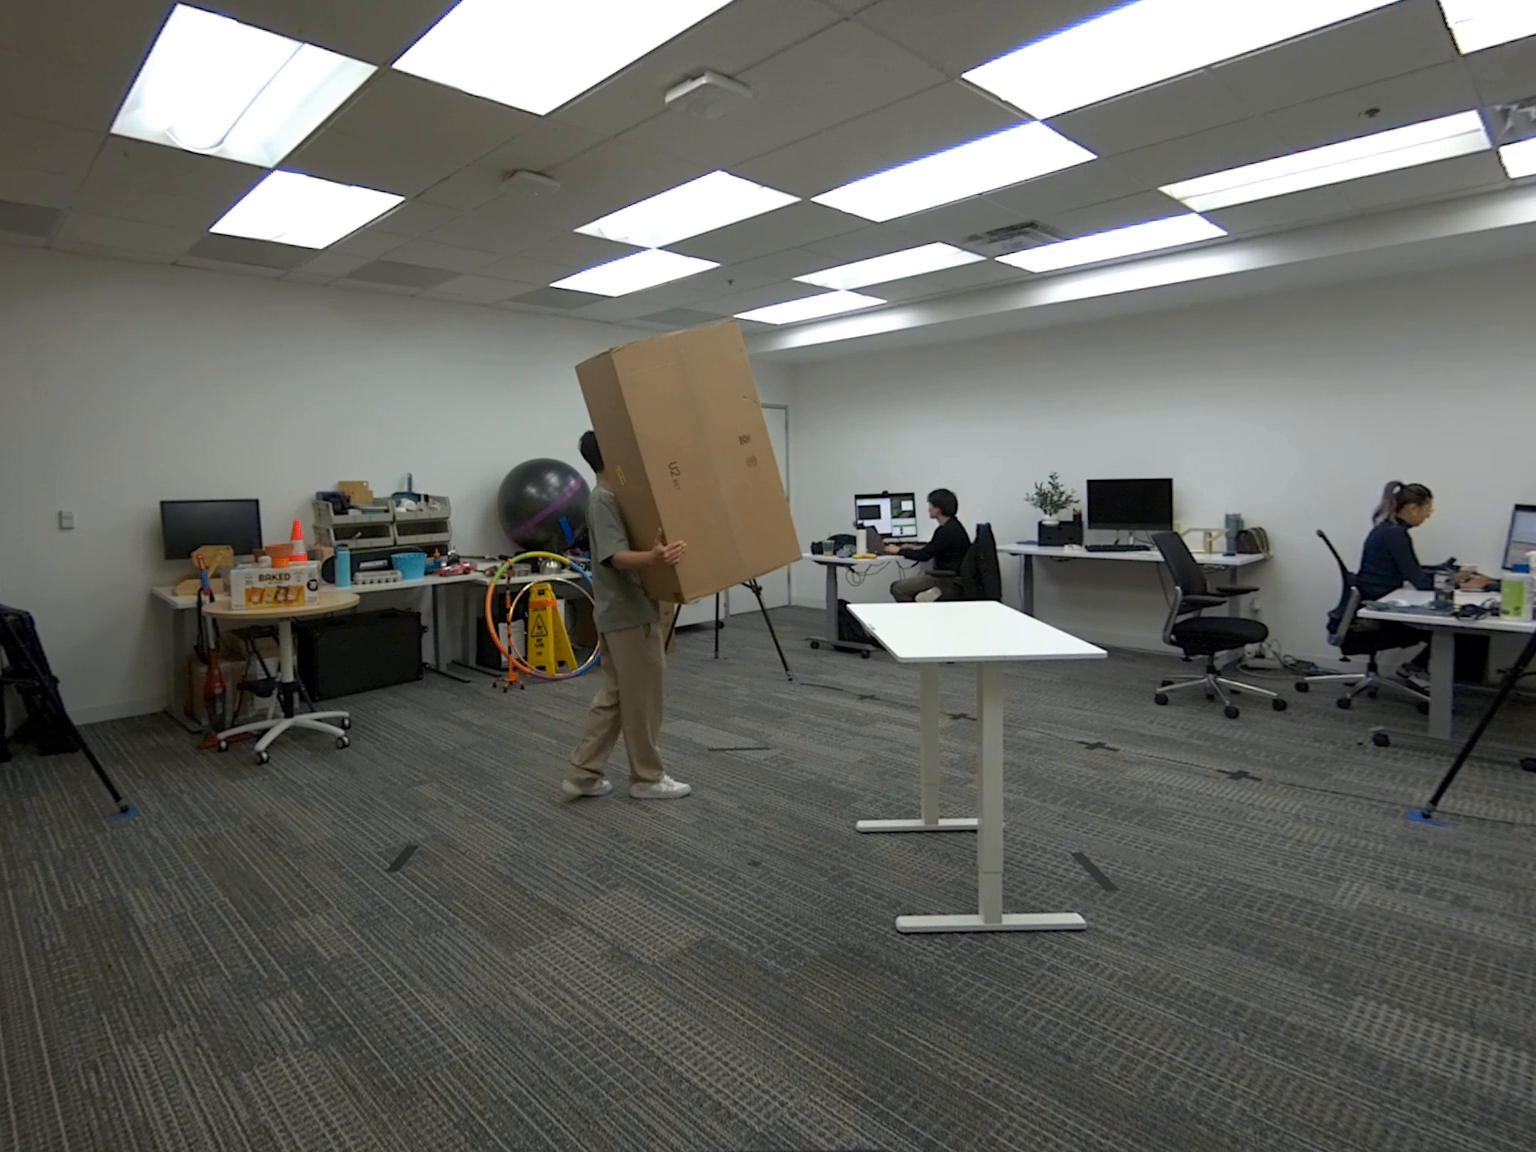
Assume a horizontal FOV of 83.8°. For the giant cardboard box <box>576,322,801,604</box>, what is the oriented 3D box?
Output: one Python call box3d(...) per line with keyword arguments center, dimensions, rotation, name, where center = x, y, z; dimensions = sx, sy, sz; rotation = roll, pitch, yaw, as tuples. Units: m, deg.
box3d(center=(-0.329, -0.465, 3.556), dimensions=(0.569, 1.015, 0.437), rotation=(-20, 10, -28), name="giant cardboard box")
